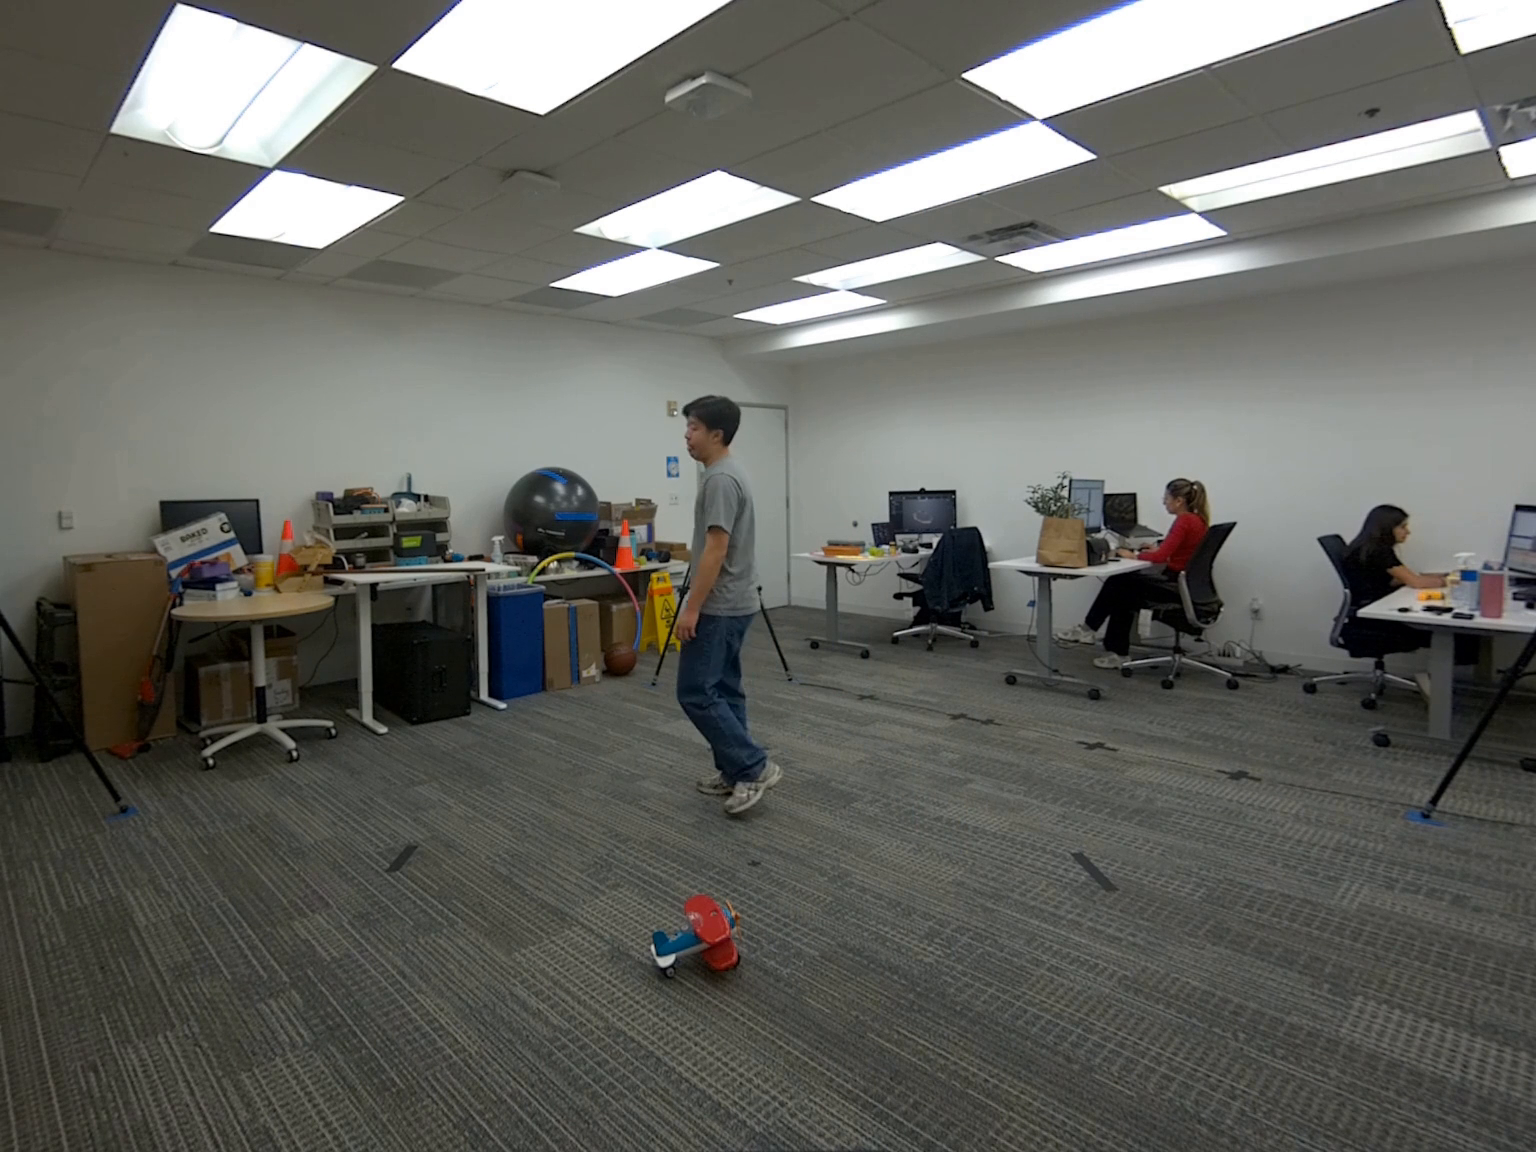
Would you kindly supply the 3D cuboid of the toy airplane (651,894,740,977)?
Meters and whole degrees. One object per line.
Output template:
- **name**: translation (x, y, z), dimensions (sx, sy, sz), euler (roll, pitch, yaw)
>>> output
- **toy airplane**: translation (-0.198, 1.060, 2.440), dimensions (0.259, 0.156, 0.252), euler (4, 7, 41)
